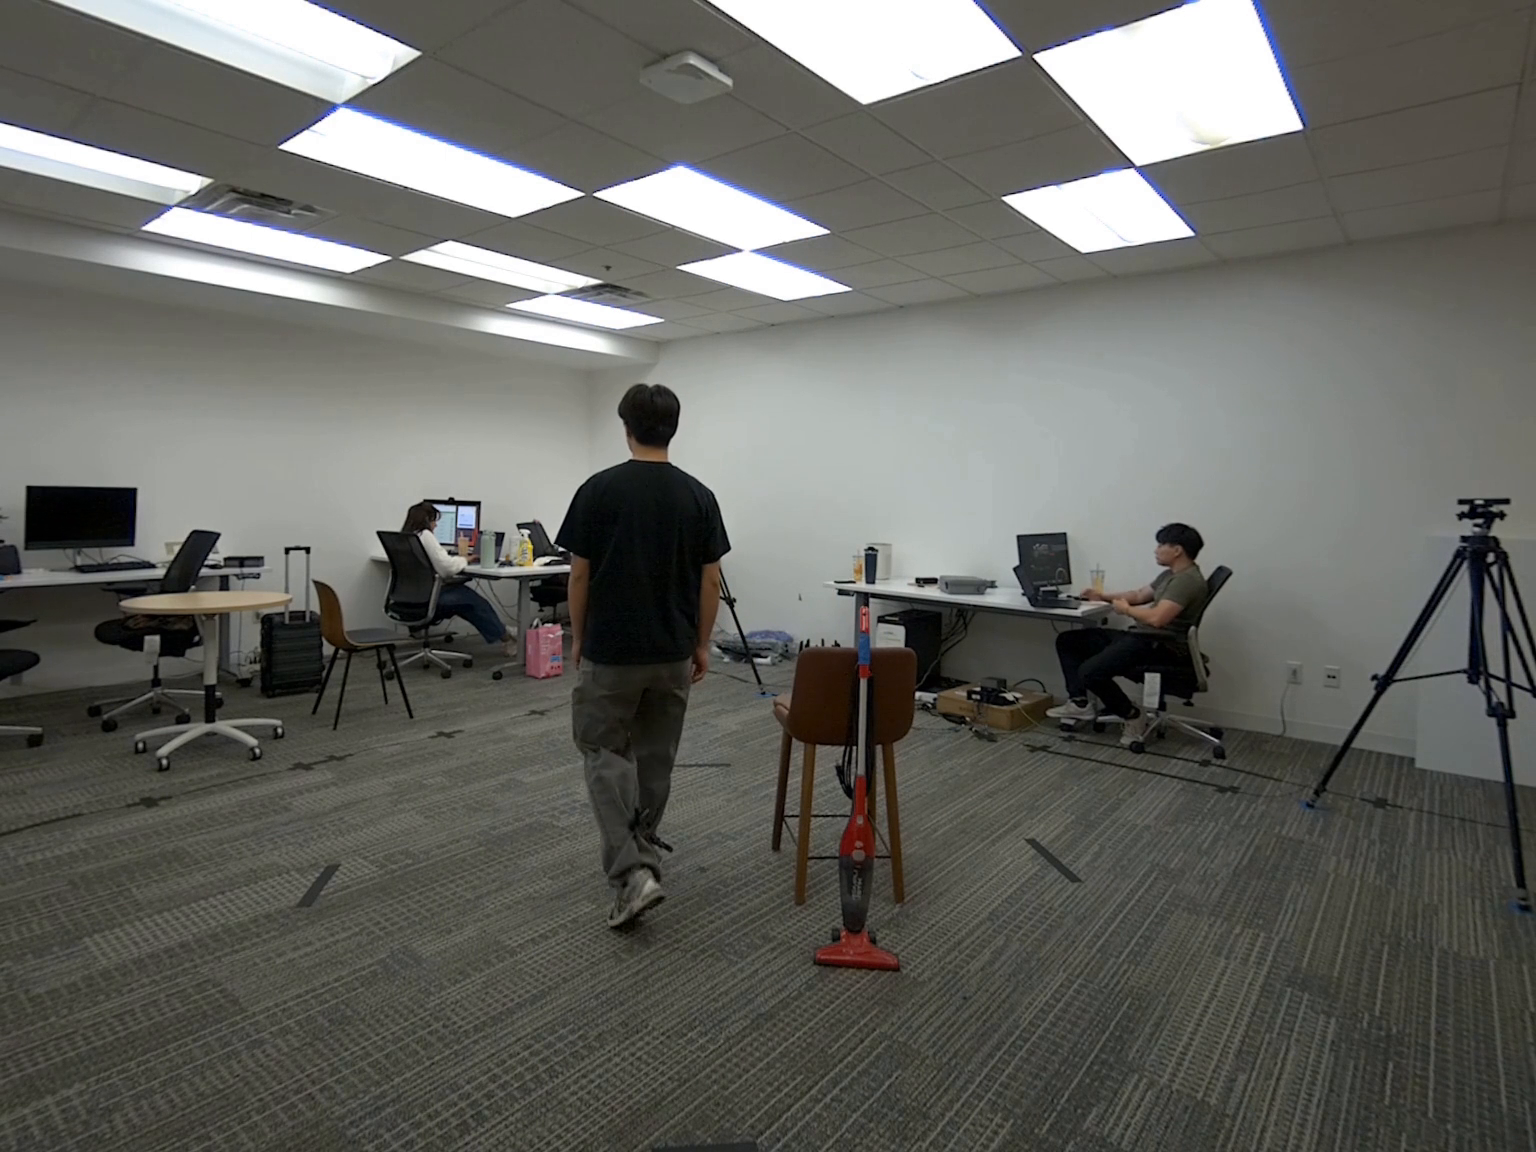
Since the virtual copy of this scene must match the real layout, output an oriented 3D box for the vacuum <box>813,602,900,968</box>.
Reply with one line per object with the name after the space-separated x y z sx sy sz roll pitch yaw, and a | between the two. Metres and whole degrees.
0.286 0.620 2.681 0.252 1.063 0.142 4 -15 -2 | vacuum
